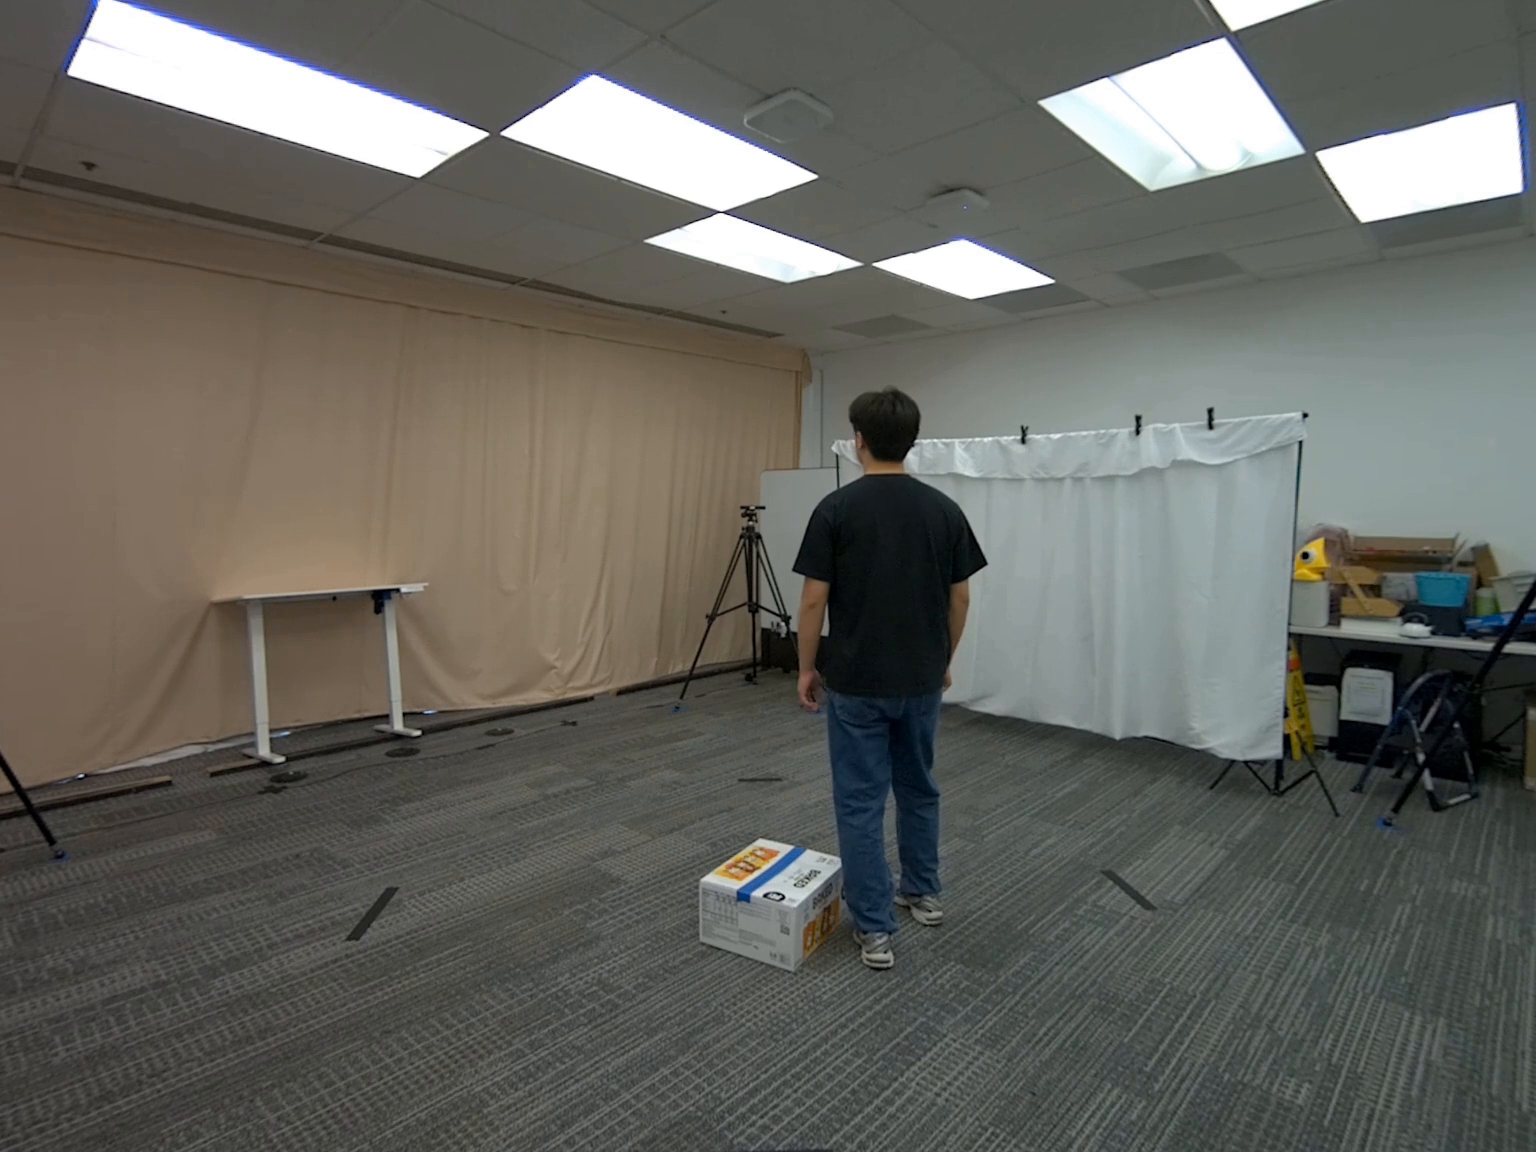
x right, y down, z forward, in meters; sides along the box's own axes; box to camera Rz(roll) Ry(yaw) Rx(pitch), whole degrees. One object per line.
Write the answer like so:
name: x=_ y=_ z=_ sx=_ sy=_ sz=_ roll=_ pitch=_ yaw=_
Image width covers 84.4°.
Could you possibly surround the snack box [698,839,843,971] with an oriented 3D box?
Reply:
snack box: x=0.029 y=1.064 z=2.756 sx=0.350 sy=0.205 sz=0.394 roll=2 pitch=5 yaw=30
